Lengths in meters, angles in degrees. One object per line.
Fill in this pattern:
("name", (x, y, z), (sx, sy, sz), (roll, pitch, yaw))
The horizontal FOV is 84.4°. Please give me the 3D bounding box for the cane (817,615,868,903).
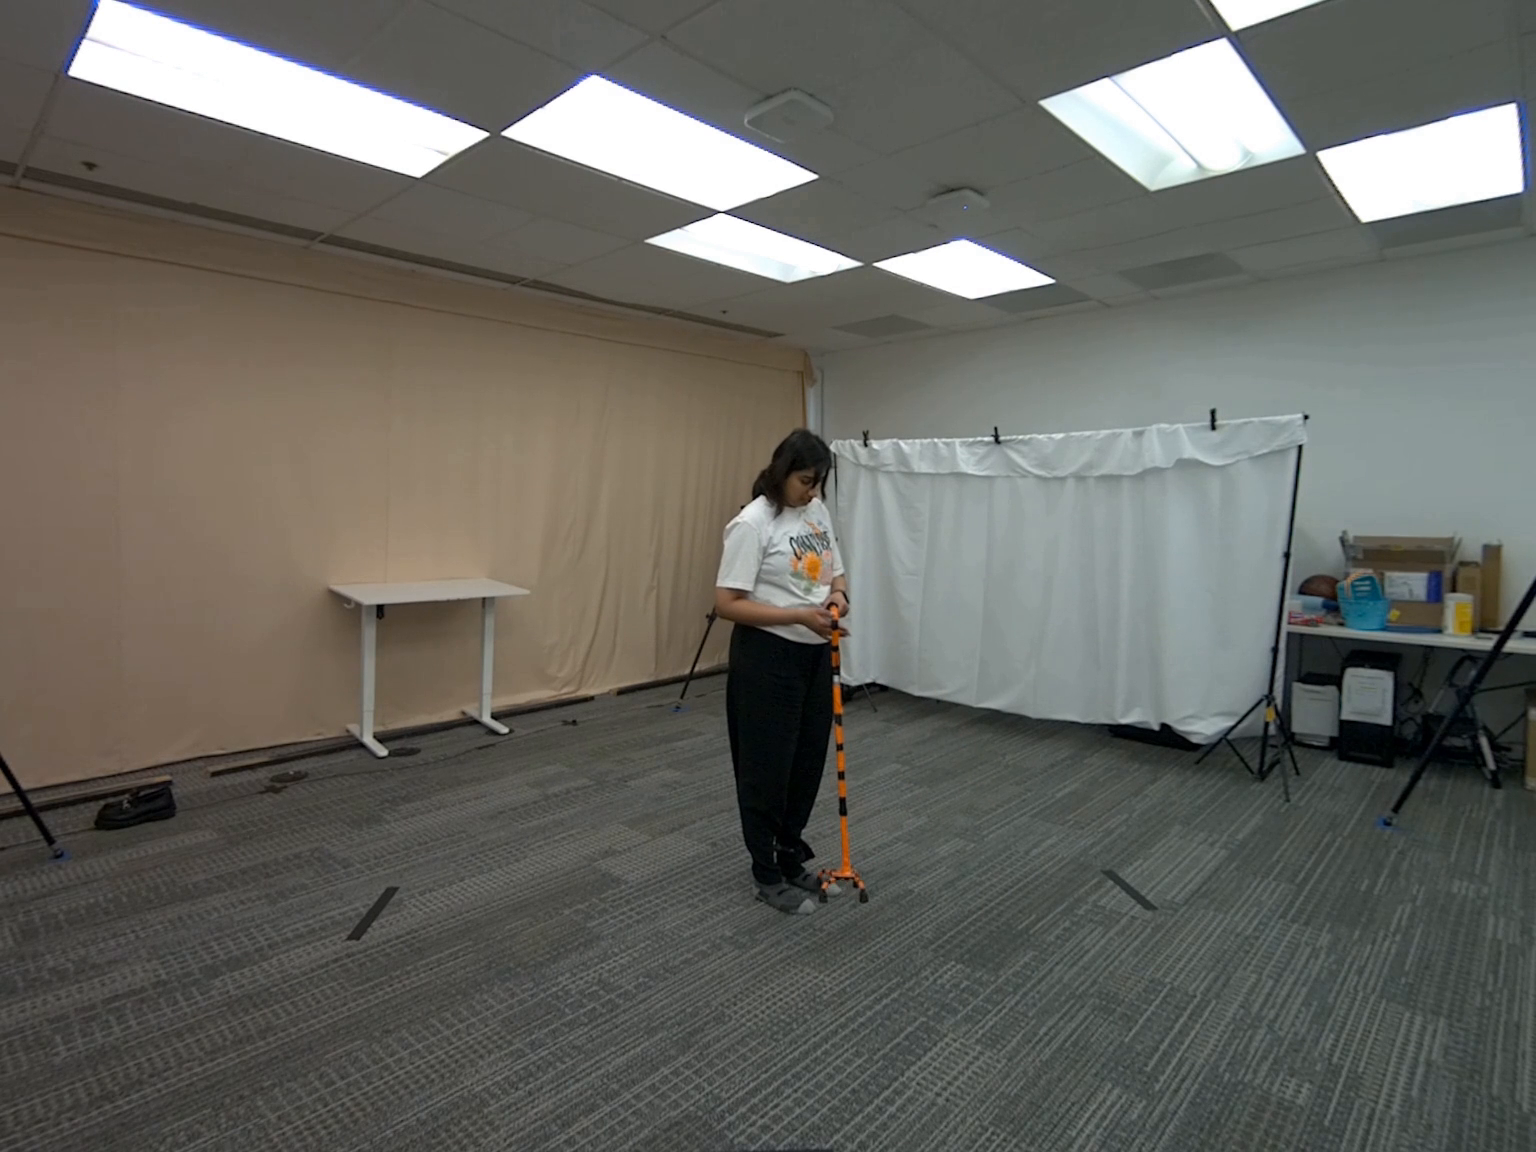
("cane", (0.216, 0.550, 2.688), (0.151, 0.912, 0.205), (-1, -7, -2))
